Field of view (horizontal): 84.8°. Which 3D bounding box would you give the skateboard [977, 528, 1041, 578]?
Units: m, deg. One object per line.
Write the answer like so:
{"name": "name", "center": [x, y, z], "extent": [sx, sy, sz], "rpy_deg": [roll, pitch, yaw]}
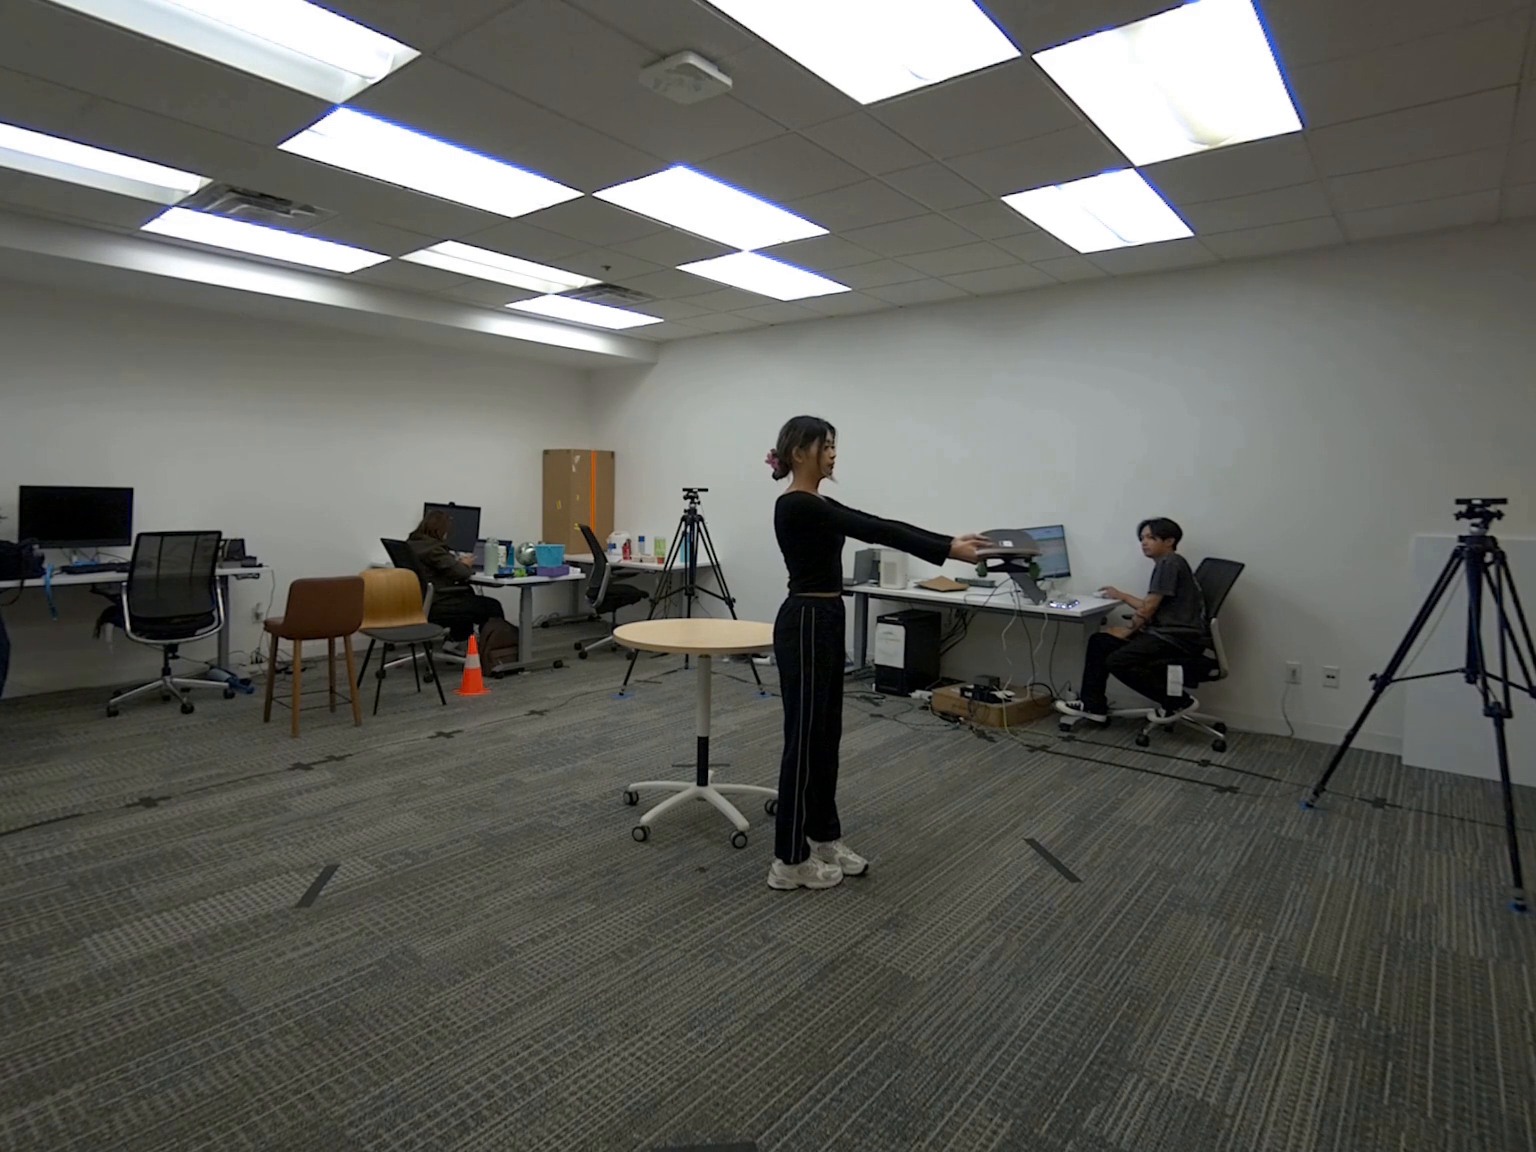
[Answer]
{"name": "skateboard", "center": [0.792, -0.076, 2.844], "extent": [0.196, 0.110, 0.777], "rpy_deg": [-3, 6, 14]}
